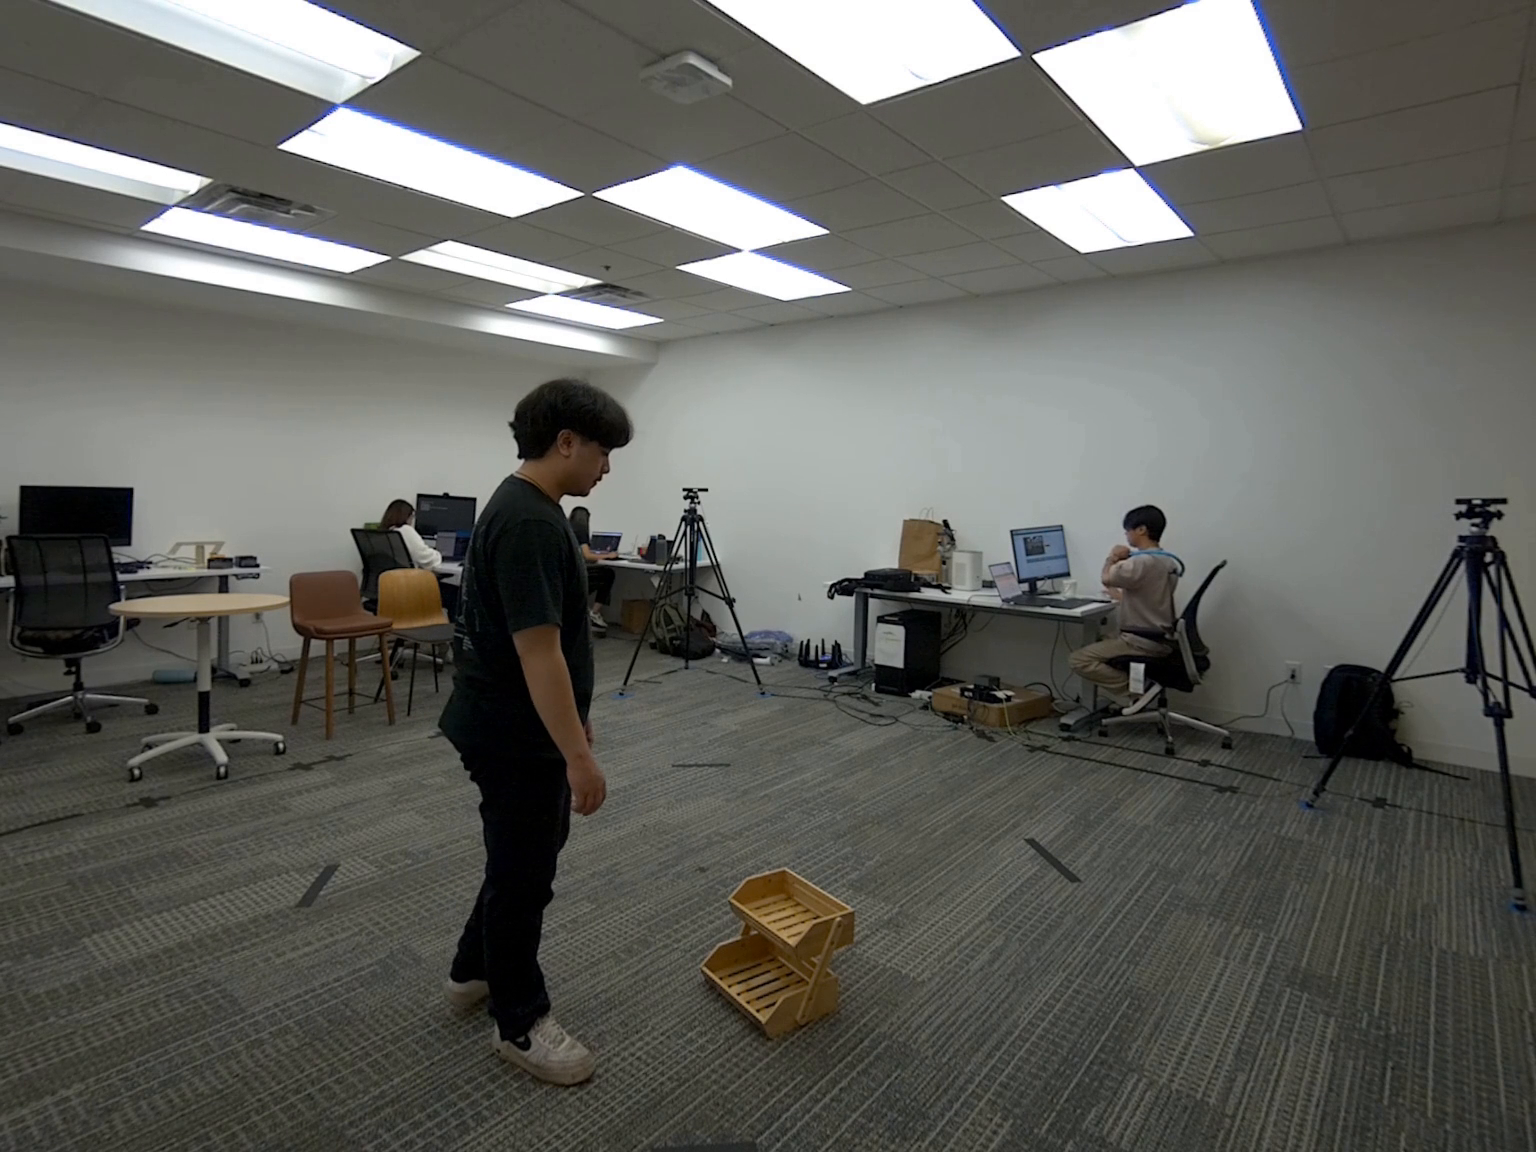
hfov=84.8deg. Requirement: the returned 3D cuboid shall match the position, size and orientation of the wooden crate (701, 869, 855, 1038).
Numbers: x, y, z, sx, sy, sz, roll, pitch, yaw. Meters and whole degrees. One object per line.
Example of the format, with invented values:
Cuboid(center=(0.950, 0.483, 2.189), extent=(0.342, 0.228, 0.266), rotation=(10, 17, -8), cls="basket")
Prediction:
Cuboid(center=(0.015, 1.020, 2.345), extent=(0.293, 0.272, 0.335), rotation=(-2, 5, -37), cls="wooden crate")
